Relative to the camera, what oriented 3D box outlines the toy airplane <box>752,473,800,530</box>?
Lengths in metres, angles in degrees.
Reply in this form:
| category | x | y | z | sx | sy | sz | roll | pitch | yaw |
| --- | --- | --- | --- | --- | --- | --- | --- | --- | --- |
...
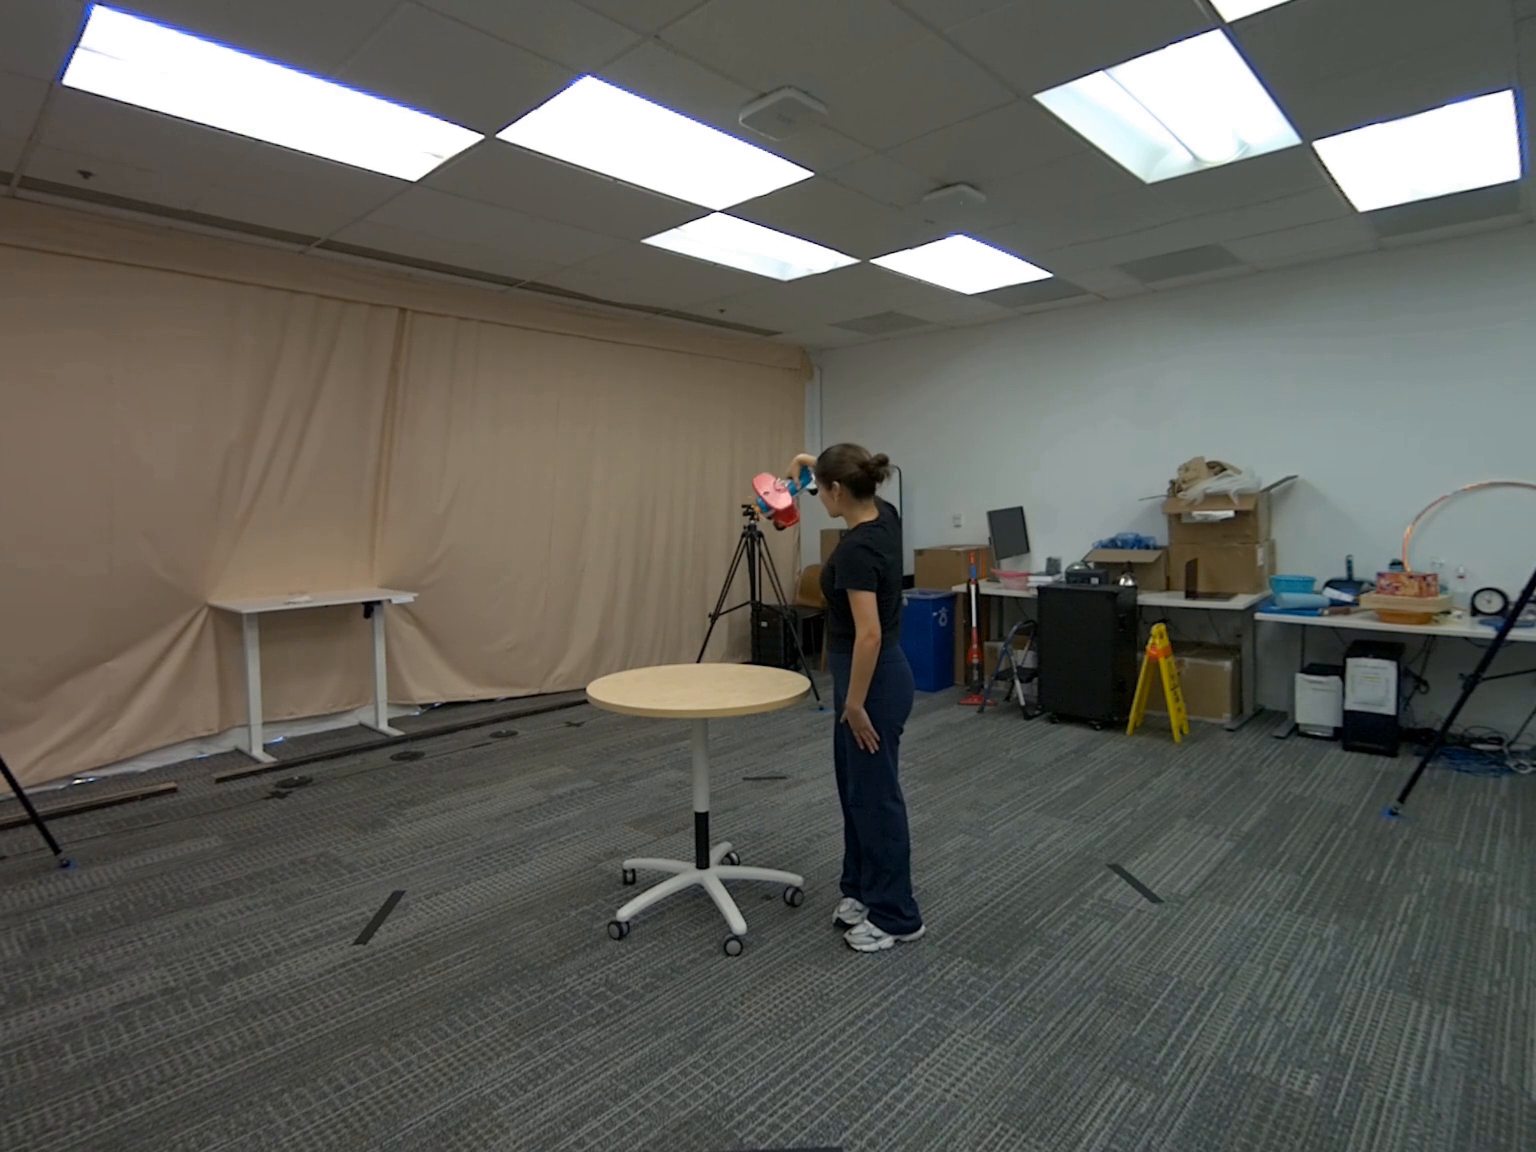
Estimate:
| category | x | y | z | sx | sy | sz | roll | pitch | yaw |
| --- | --- | --- | --- | --- | --- | --- | --- | --- | --- |
| toy airplane | 0.077 | -0.305 | 3.206 | 0.260 | 0.259 | 0.151 | 13 | -22 | 43 |
